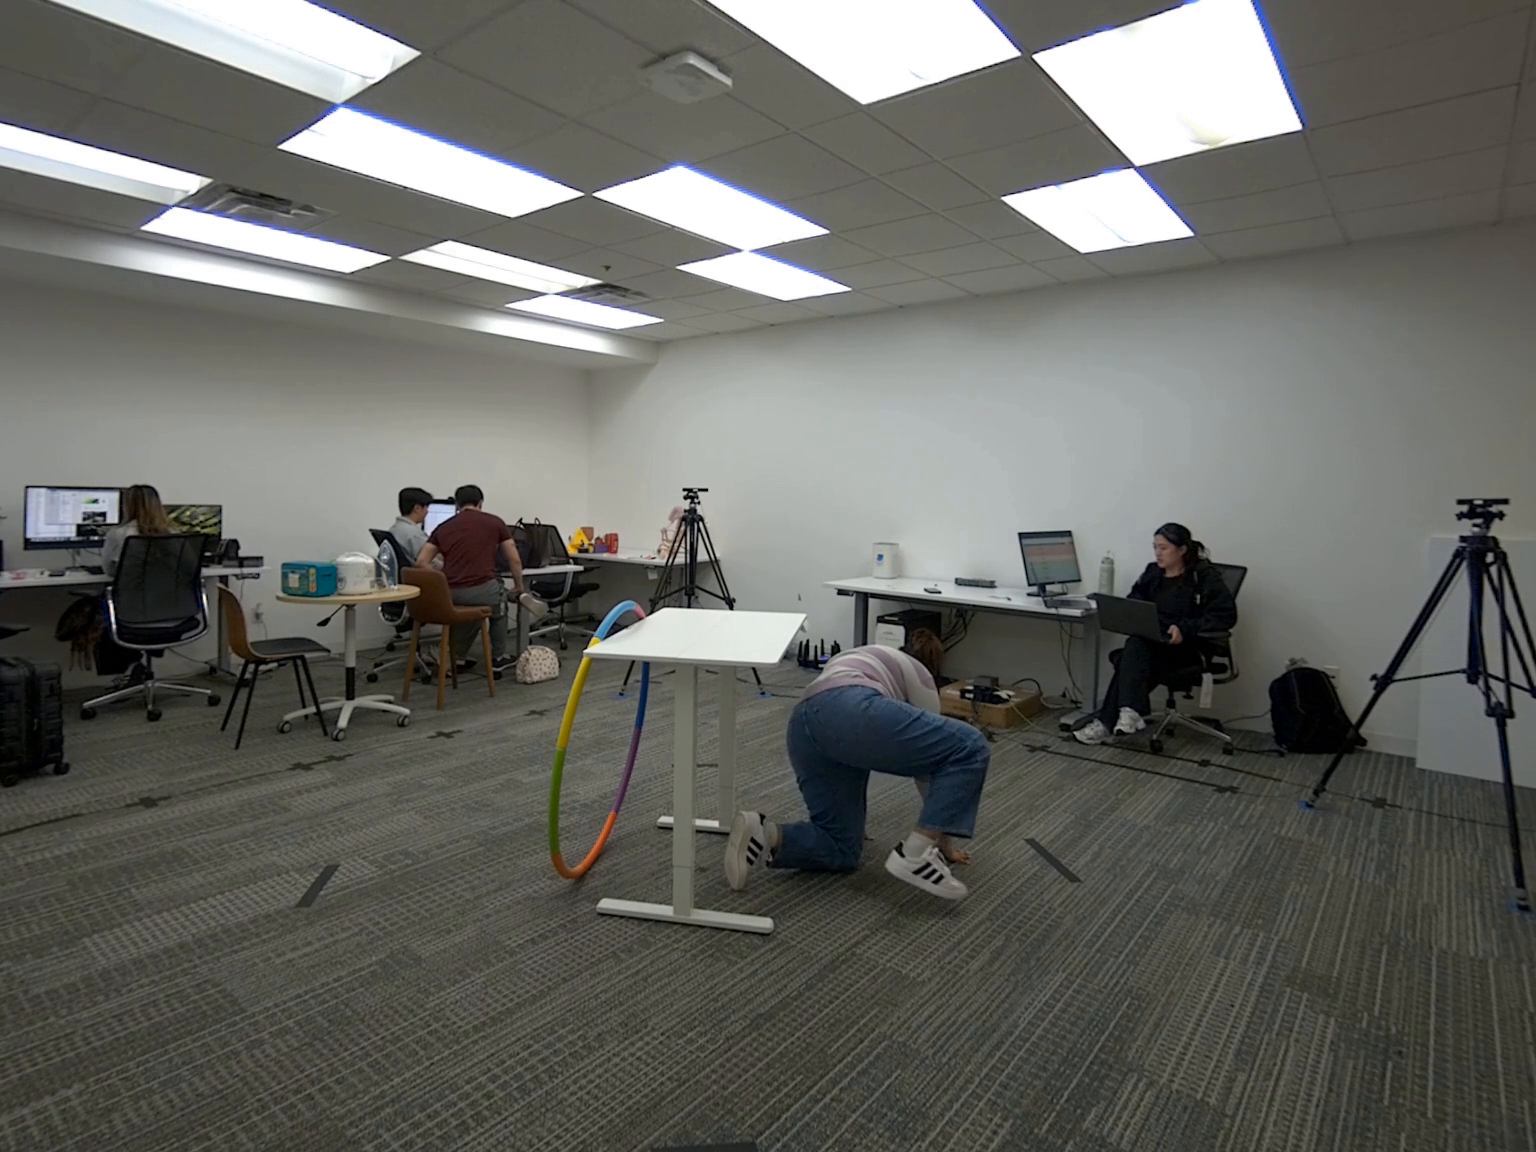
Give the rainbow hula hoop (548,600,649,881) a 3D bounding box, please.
[{"bbox_3d":[-0.600,0.584,3.089,0.036,0.975,0.971,9,5,7],"label":"rainbow hula hoop"}]
